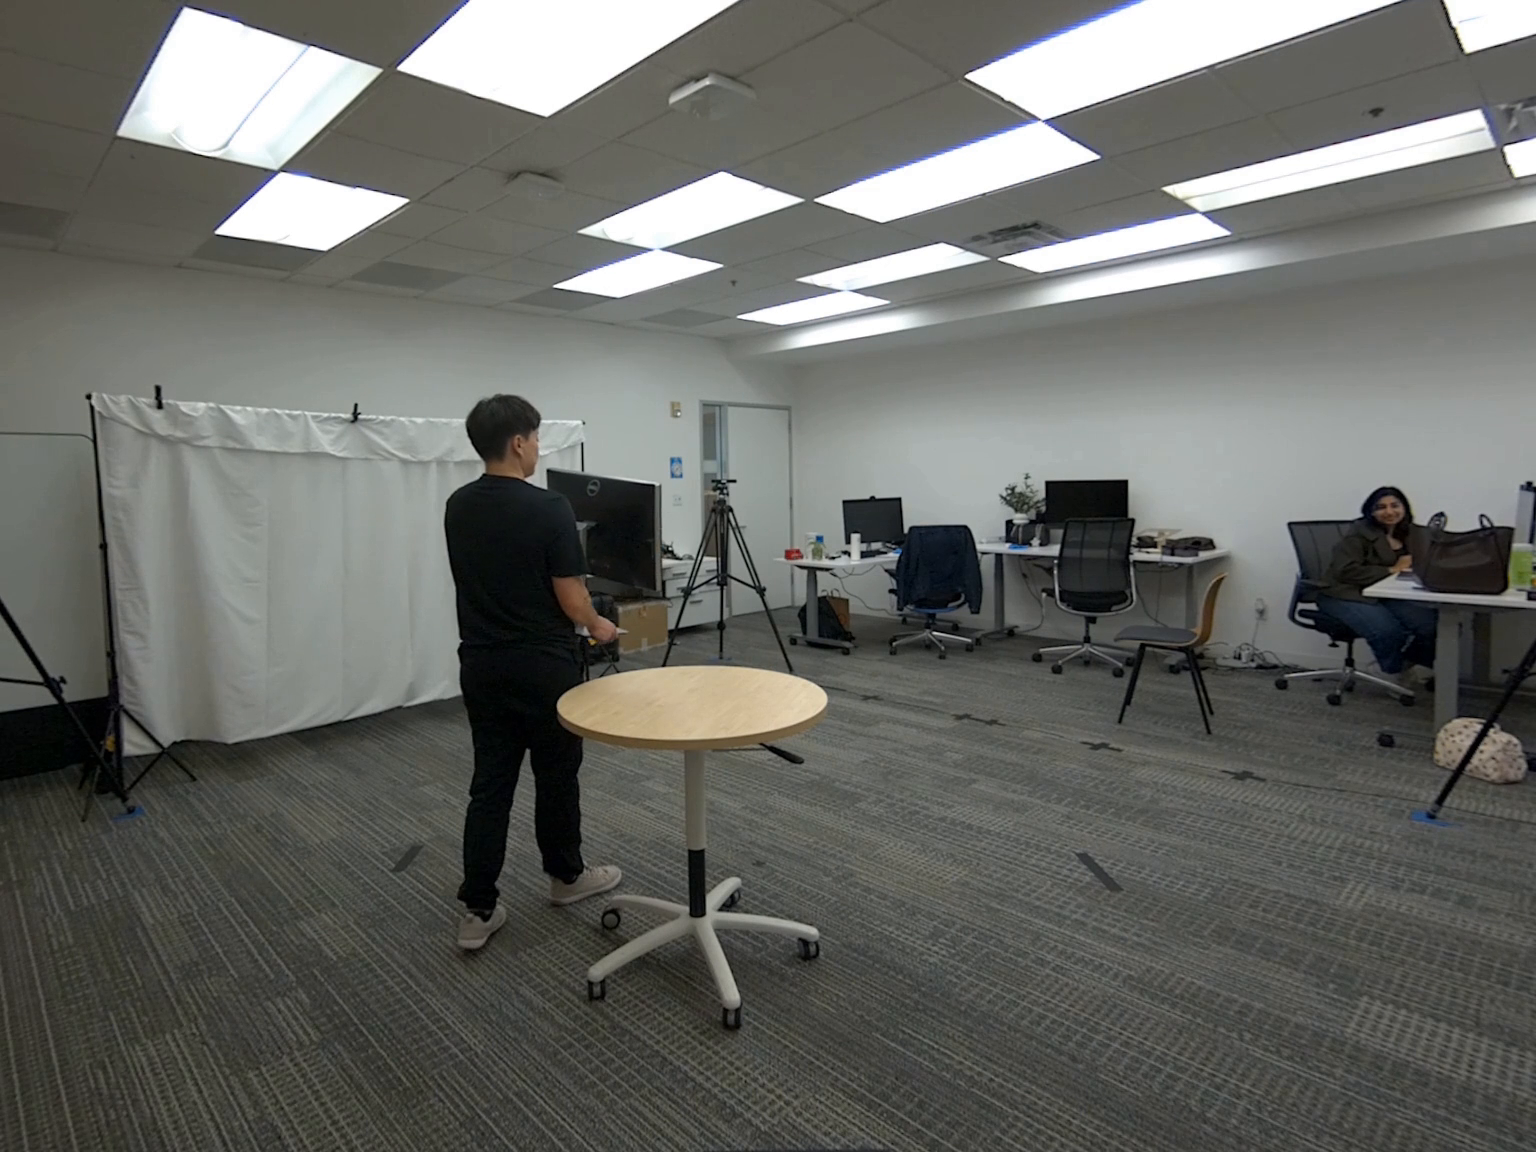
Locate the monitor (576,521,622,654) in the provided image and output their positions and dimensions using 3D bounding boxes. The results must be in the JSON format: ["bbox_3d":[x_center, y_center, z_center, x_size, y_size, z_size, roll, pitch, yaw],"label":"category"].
[{"bbox_3d":[-0.601,-0.084,2.946,0.557,0.521,0.181,11,4,37],"label":"monitor"}]
